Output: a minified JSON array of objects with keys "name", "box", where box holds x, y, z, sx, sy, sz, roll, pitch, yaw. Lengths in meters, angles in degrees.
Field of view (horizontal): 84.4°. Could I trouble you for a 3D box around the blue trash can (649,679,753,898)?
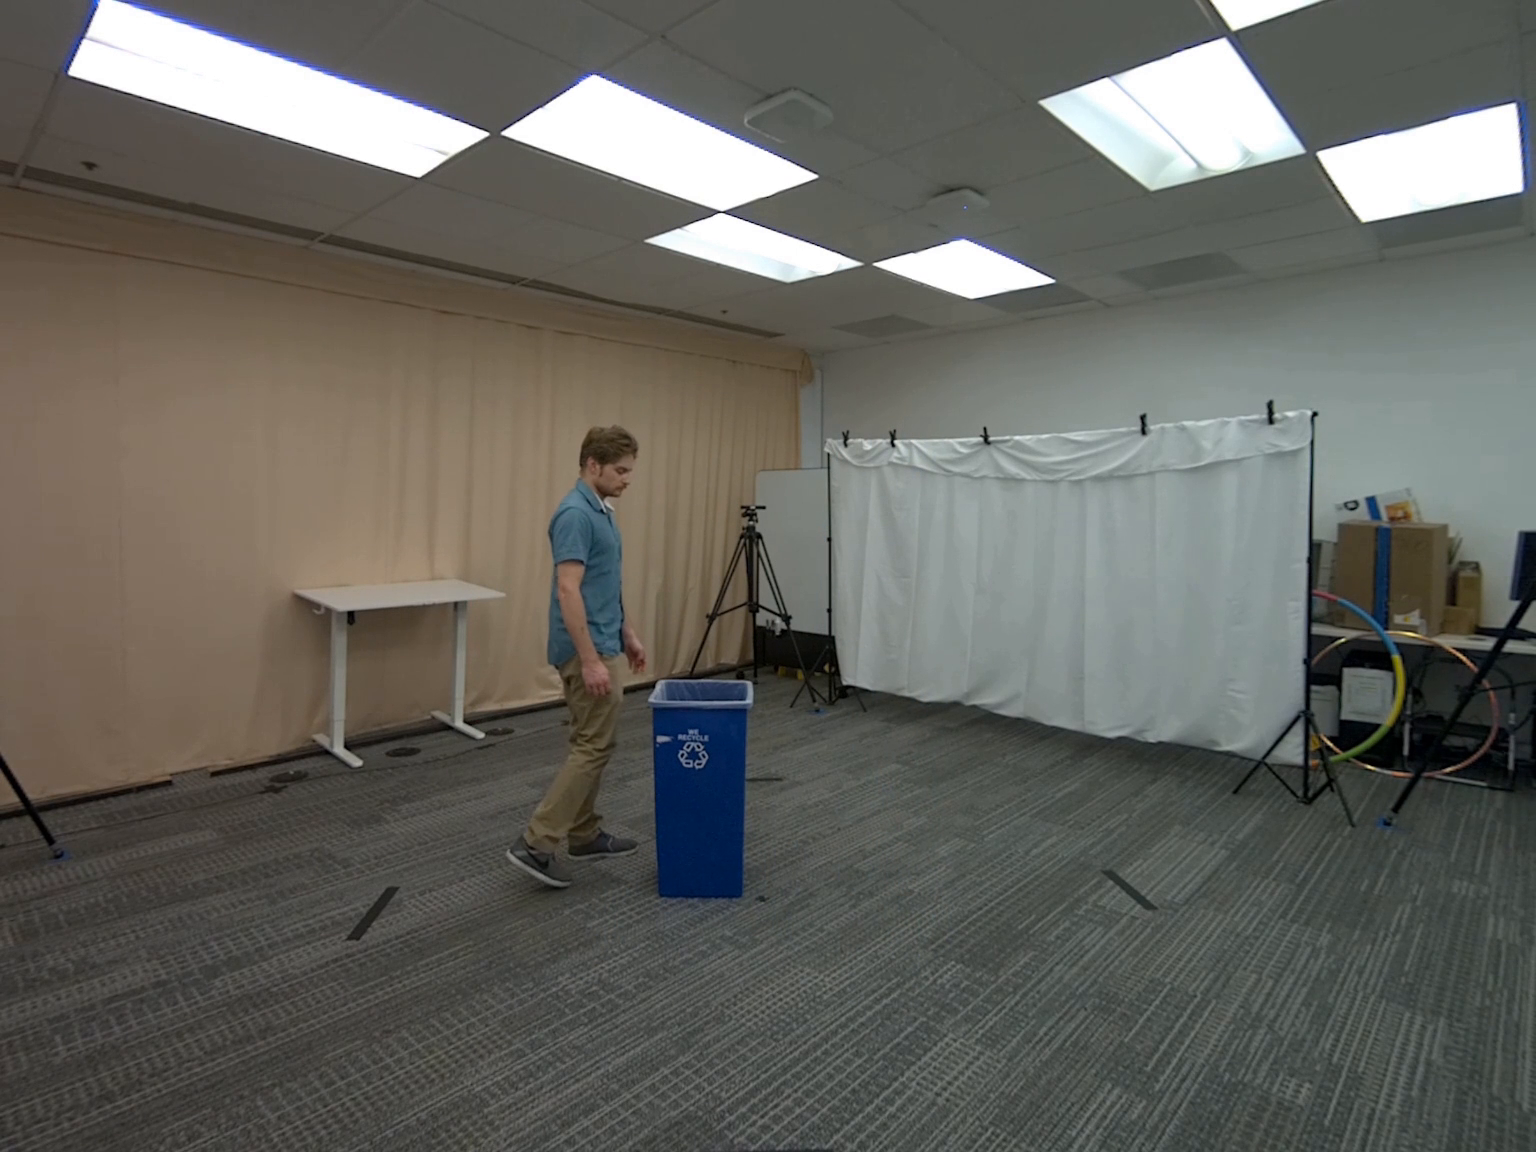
[{"name":"blue trash can","box":[-0.242,0.780,3.113,0.378,0.712,0.374,1,3,0]}]
